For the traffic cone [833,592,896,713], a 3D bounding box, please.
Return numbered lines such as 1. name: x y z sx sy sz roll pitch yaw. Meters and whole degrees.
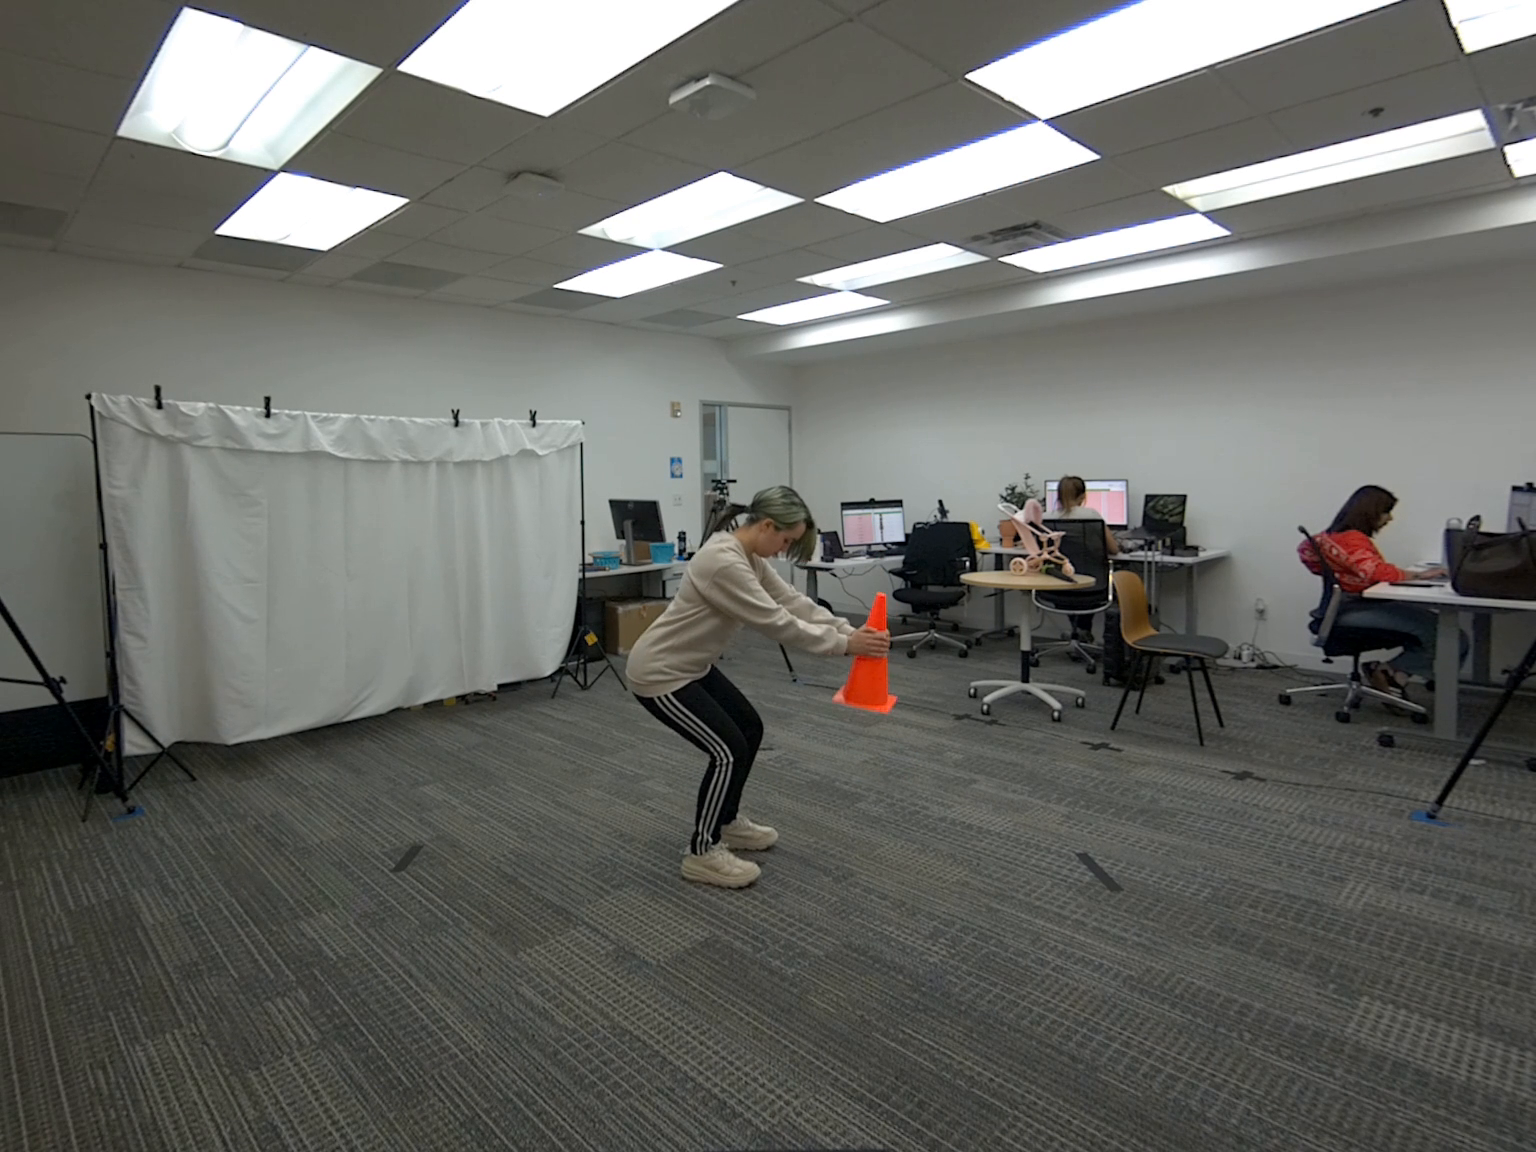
1. traffic cone: 0.358 0.247 2.959 0.208 0.381 0.202 9 9 20
